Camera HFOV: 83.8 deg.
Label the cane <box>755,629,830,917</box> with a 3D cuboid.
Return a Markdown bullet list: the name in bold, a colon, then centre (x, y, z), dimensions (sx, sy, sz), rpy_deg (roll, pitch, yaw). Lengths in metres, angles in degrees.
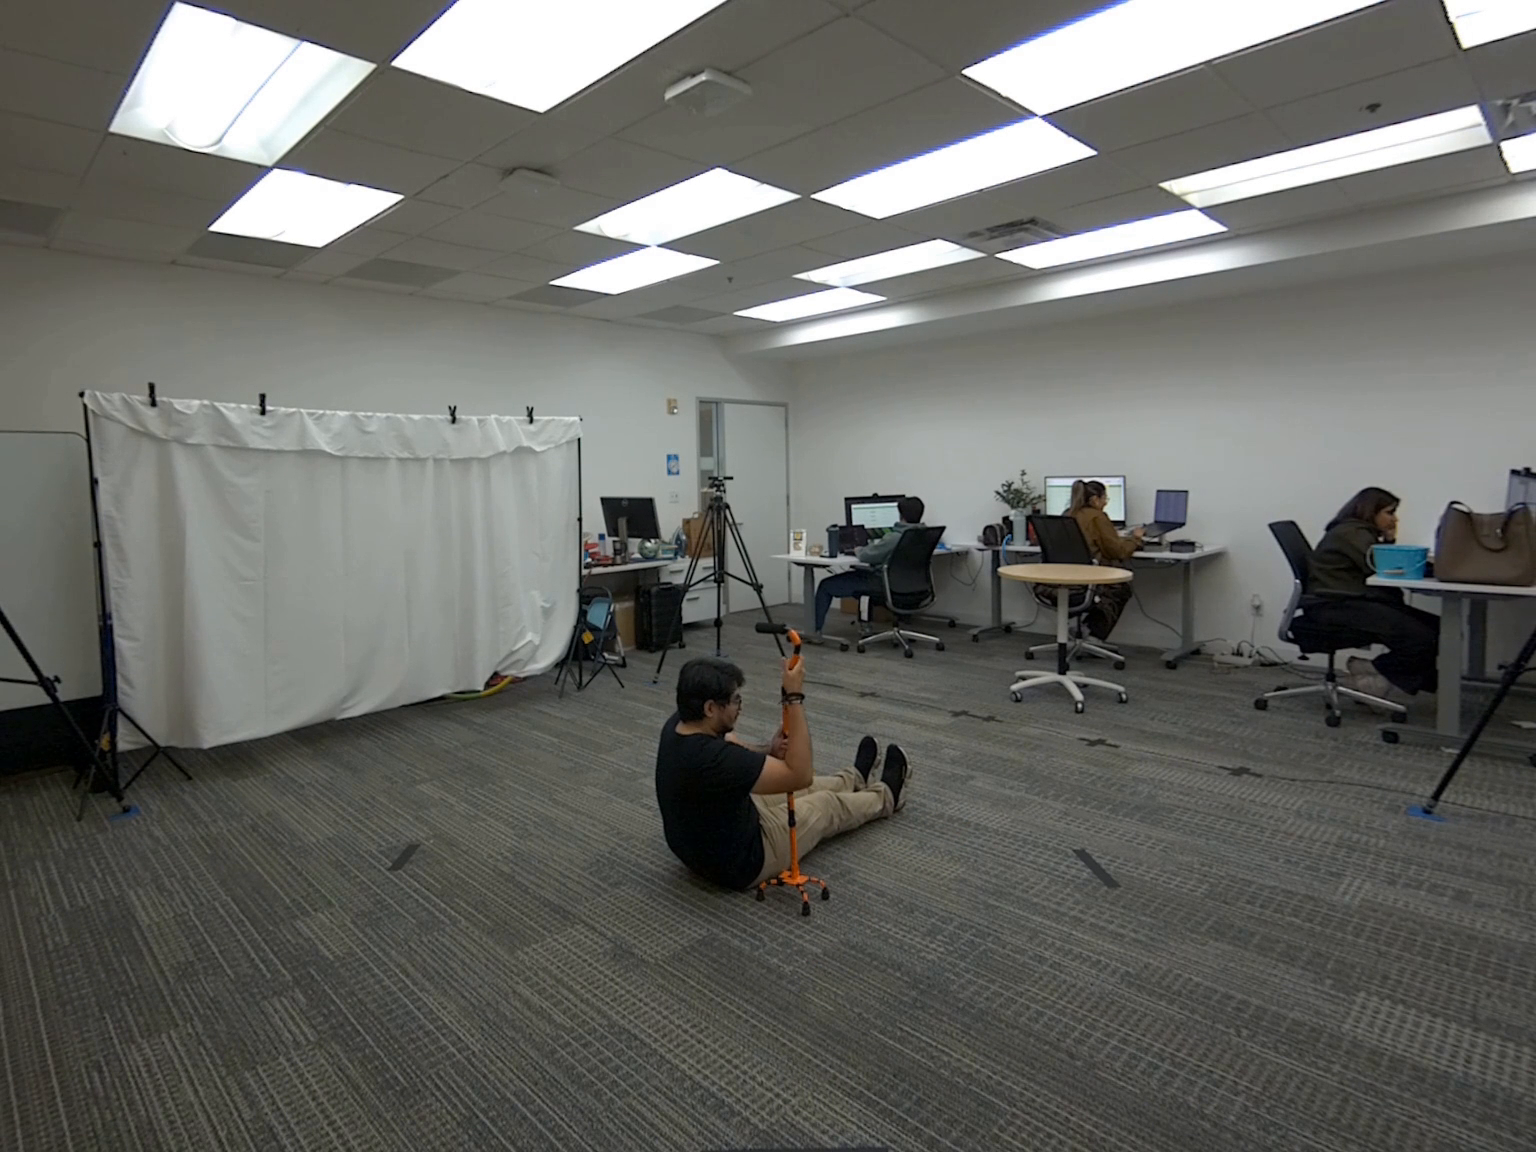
- **cane**: centre (0.058, 0.614, 2.793), dimensions (0.212, 0.904, 0.148), rpy_deg (0, 5, 35)
